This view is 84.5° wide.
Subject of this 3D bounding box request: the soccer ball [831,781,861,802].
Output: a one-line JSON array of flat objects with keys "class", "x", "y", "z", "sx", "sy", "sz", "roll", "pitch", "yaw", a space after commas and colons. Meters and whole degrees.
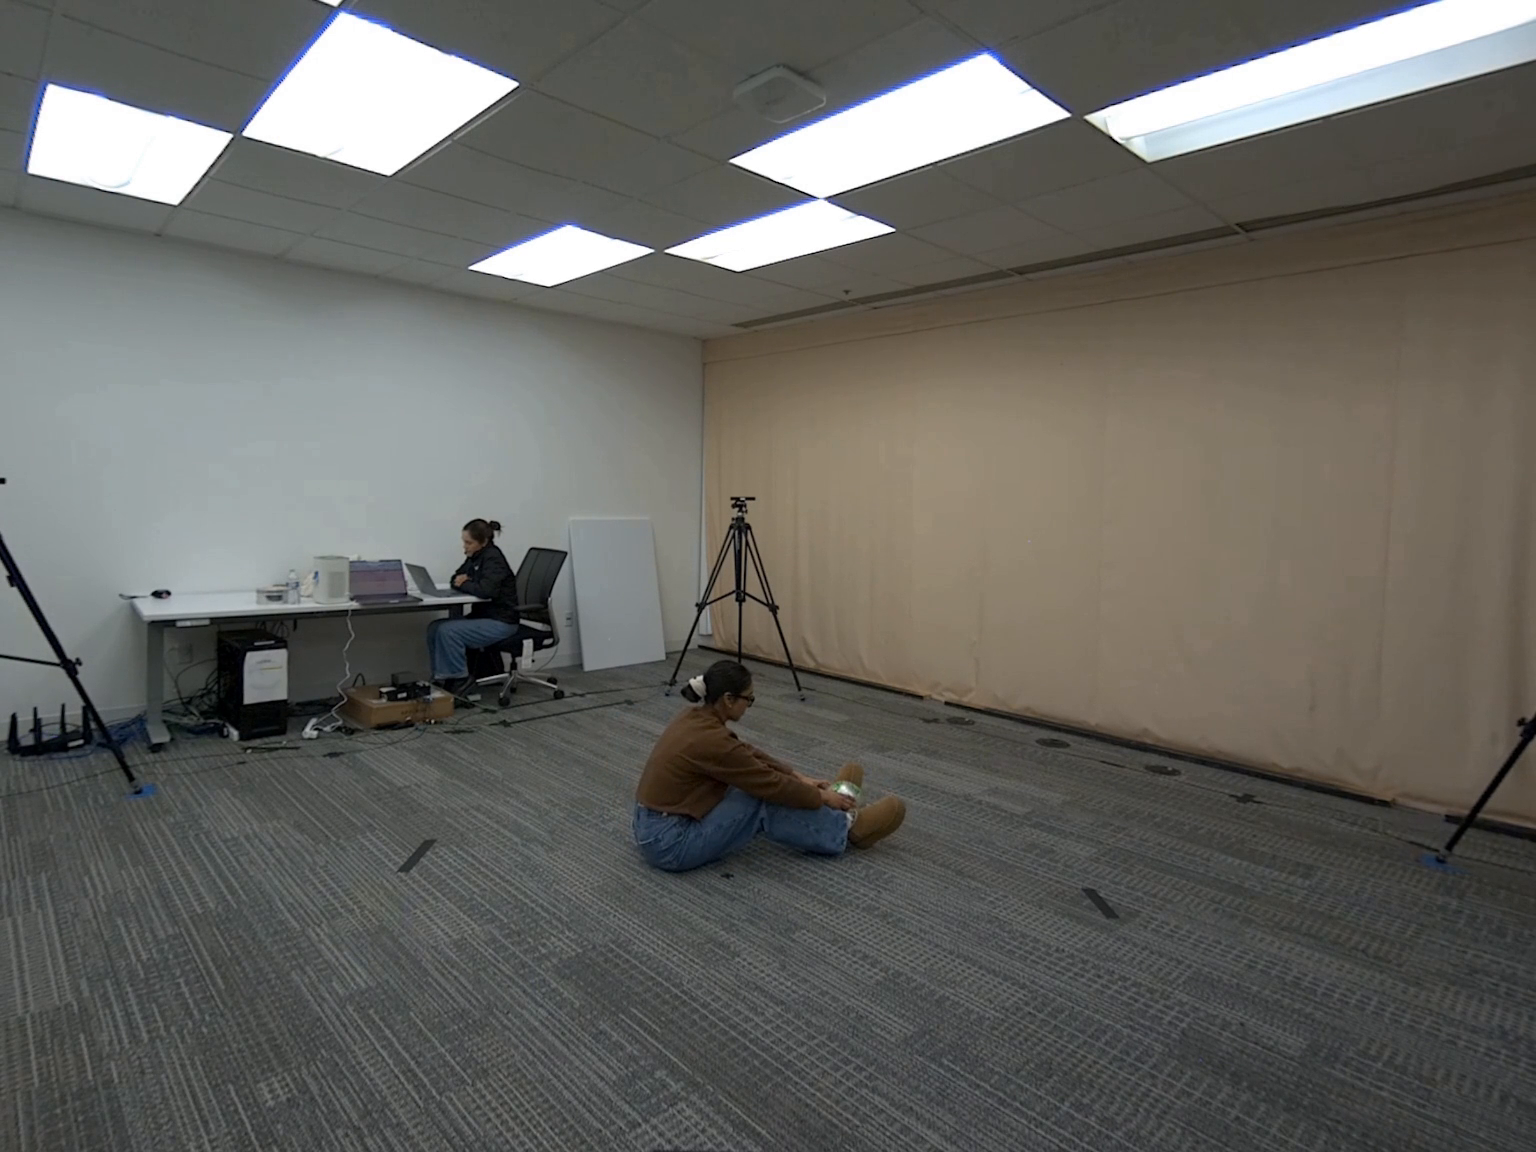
[{"class": "soccer ball", "x": 0.304, "y": 0.950, "z": 3.487, "sx": 0.187, "sy": 0.187, "sz": 0.188, "roll": 1, "pitch": 4, "yaw": -1}]
